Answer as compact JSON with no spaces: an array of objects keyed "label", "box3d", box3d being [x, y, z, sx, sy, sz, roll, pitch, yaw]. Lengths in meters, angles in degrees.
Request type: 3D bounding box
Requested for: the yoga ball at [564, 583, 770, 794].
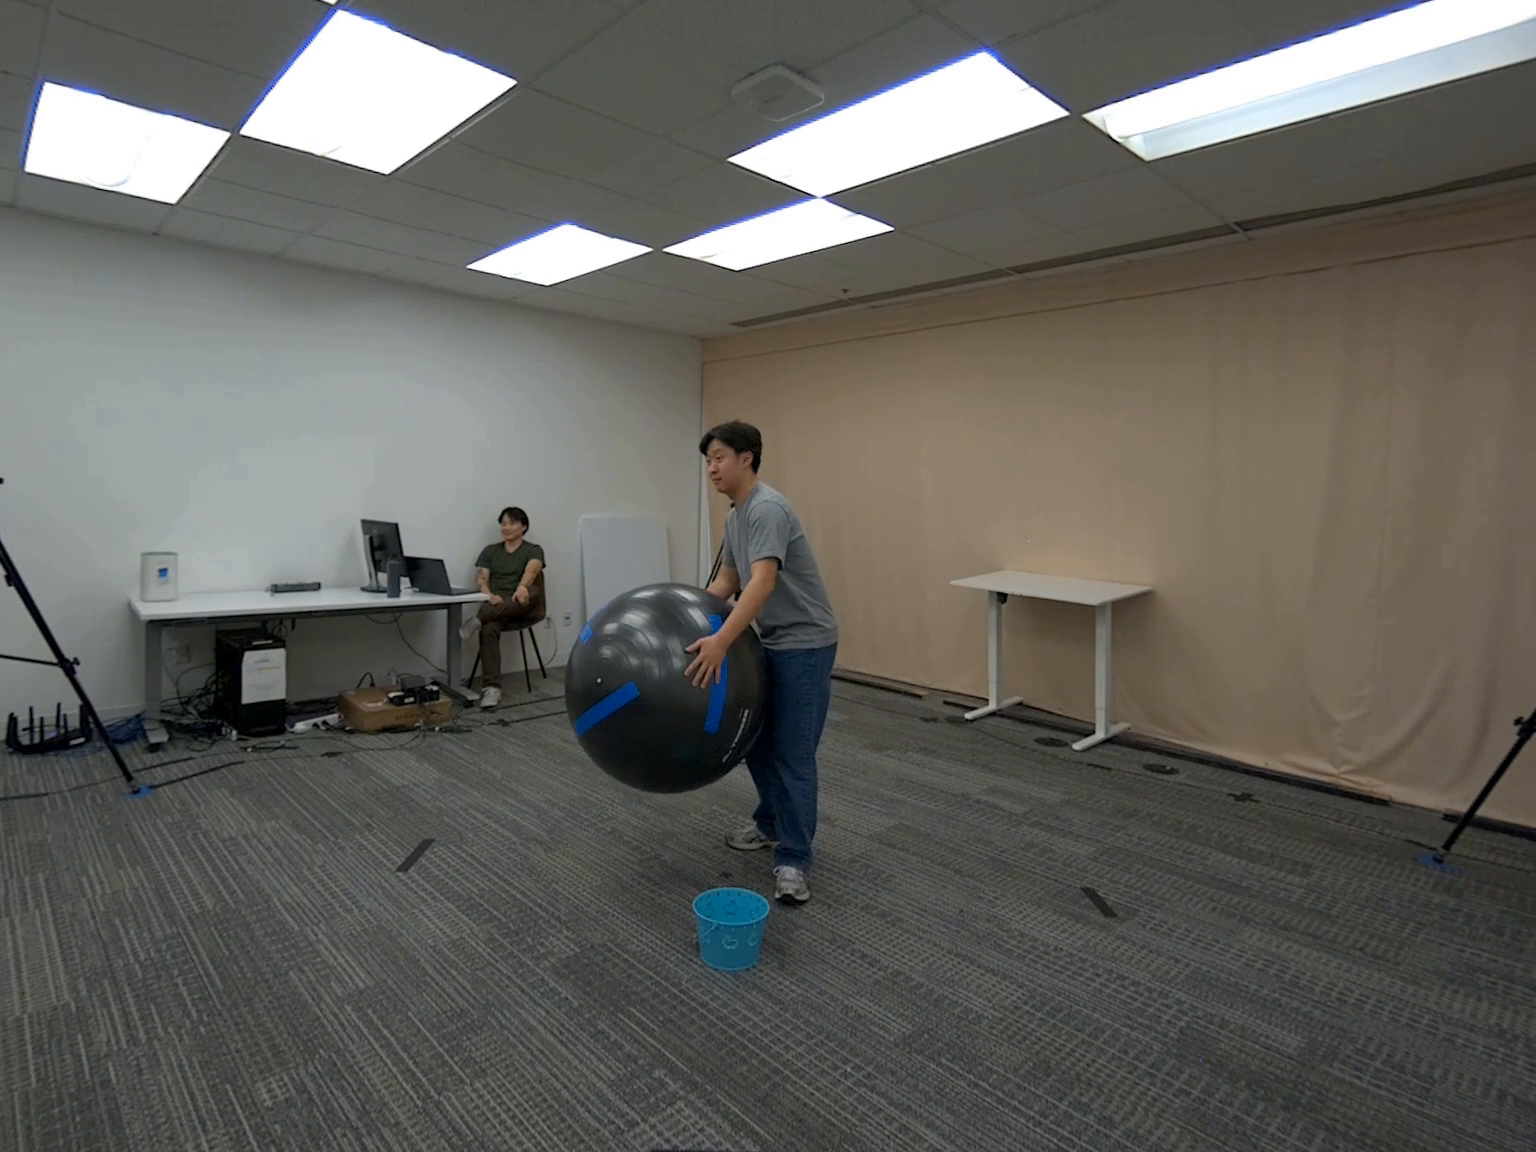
[{"label":"yoga ball","box3d":[-0.384,0.407,3.096,0.757,0.756,0.761,1,4,-1]}]
